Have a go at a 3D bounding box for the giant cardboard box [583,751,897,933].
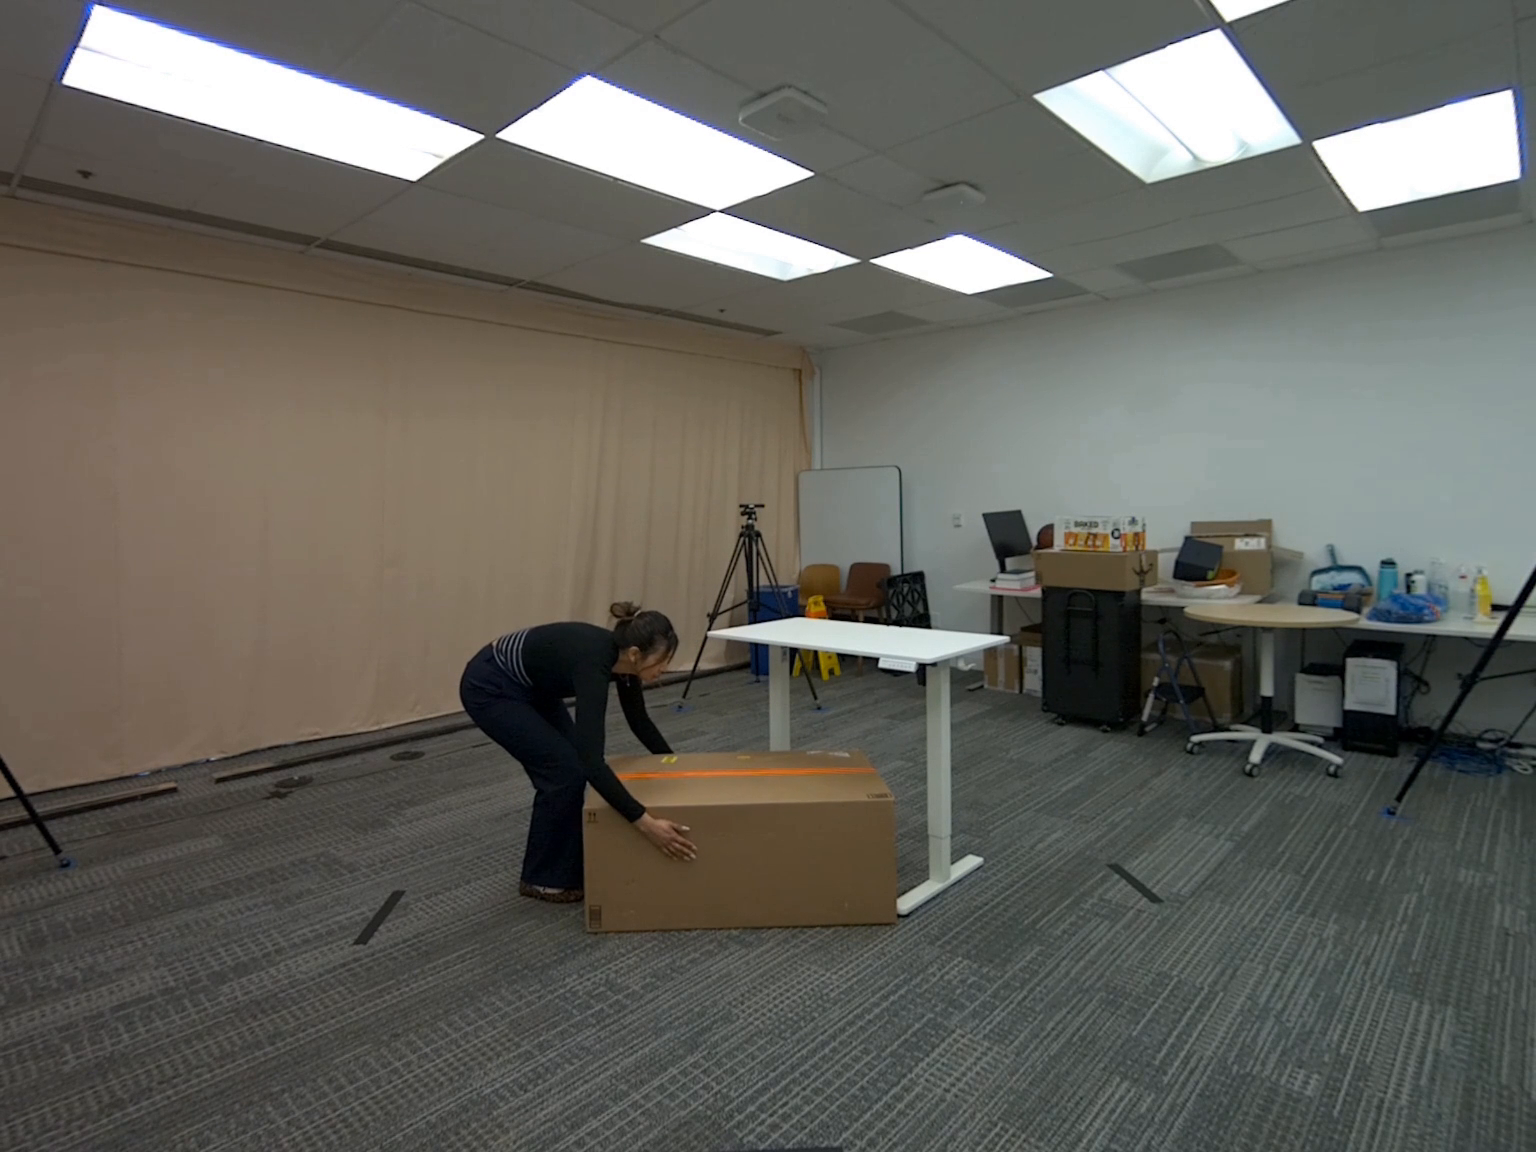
[{"bbox_3d":[-0.111,0.917,3.031,1.024,0.425,0.580,-2,3,-2],"label":"giant cardboard box"}]
